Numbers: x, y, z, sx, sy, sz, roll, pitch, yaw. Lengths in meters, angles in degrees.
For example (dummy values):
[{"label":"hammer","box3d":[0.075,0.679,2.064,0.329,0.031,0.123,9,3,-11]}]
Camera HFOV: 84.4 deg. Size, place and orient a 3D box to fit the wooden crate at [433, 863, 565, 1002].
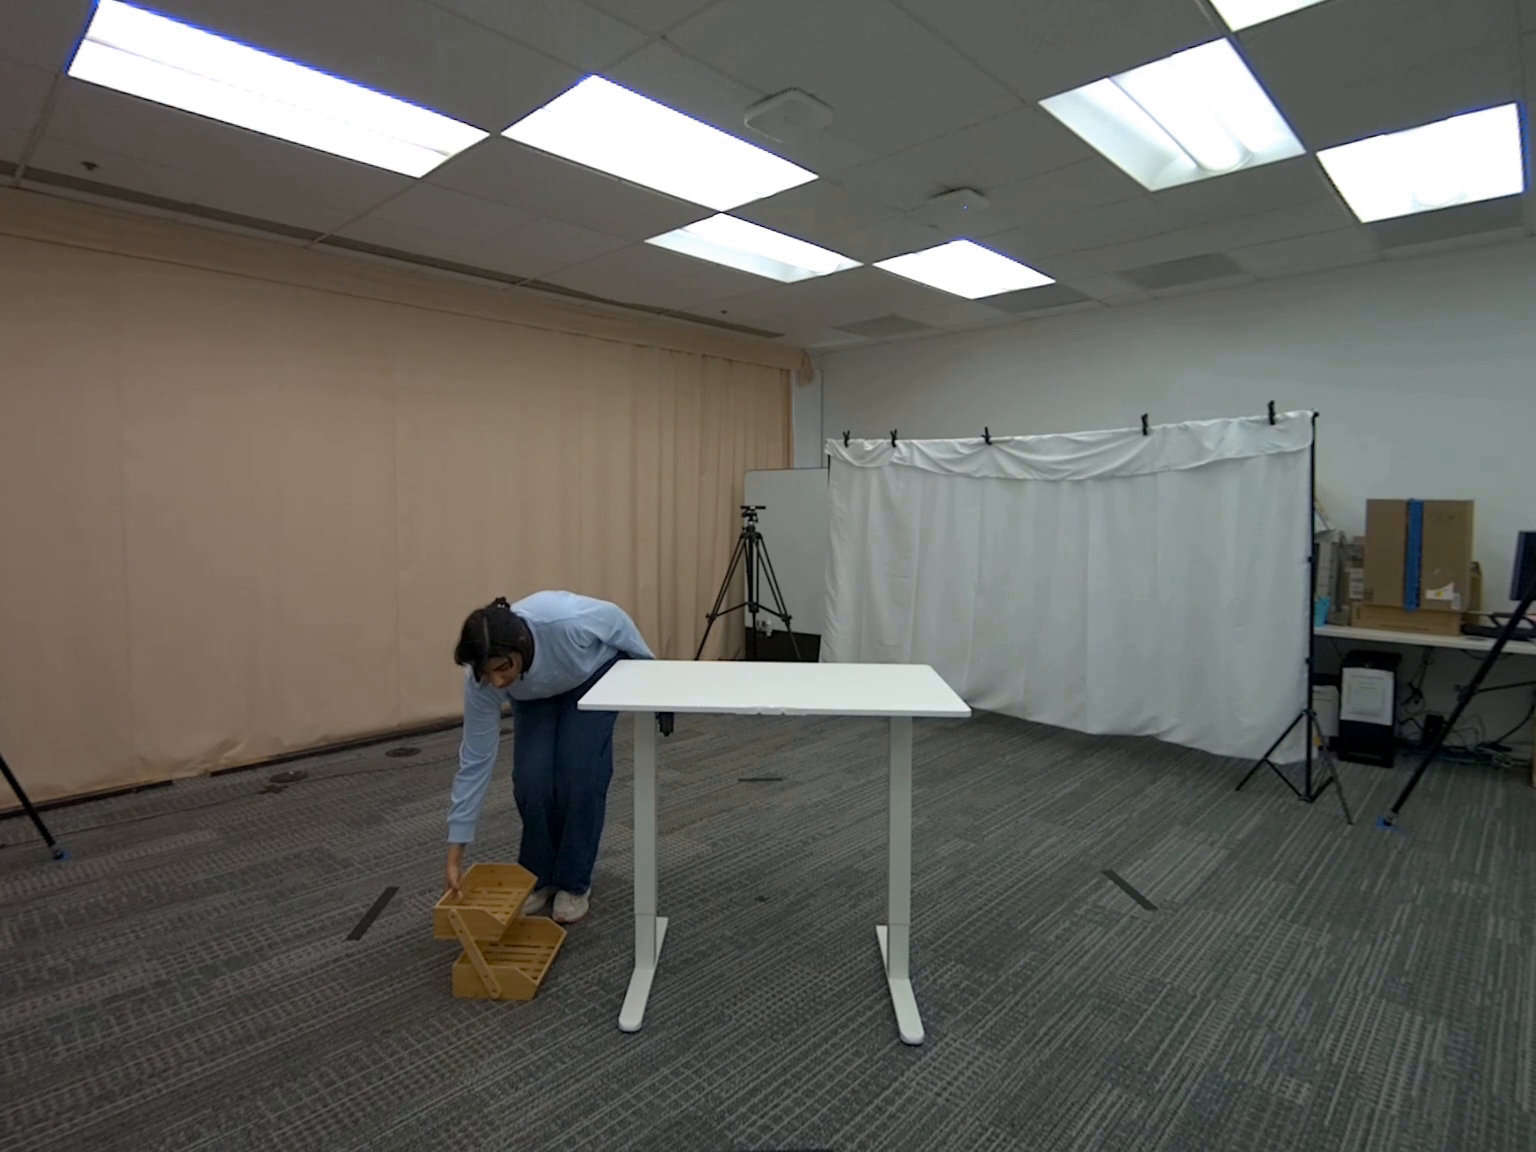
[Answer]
[{"label":"wooden crate","box3d":[-0.780,1.045,2.531,0.303,0.273,0.324,-2,4,4]}]
